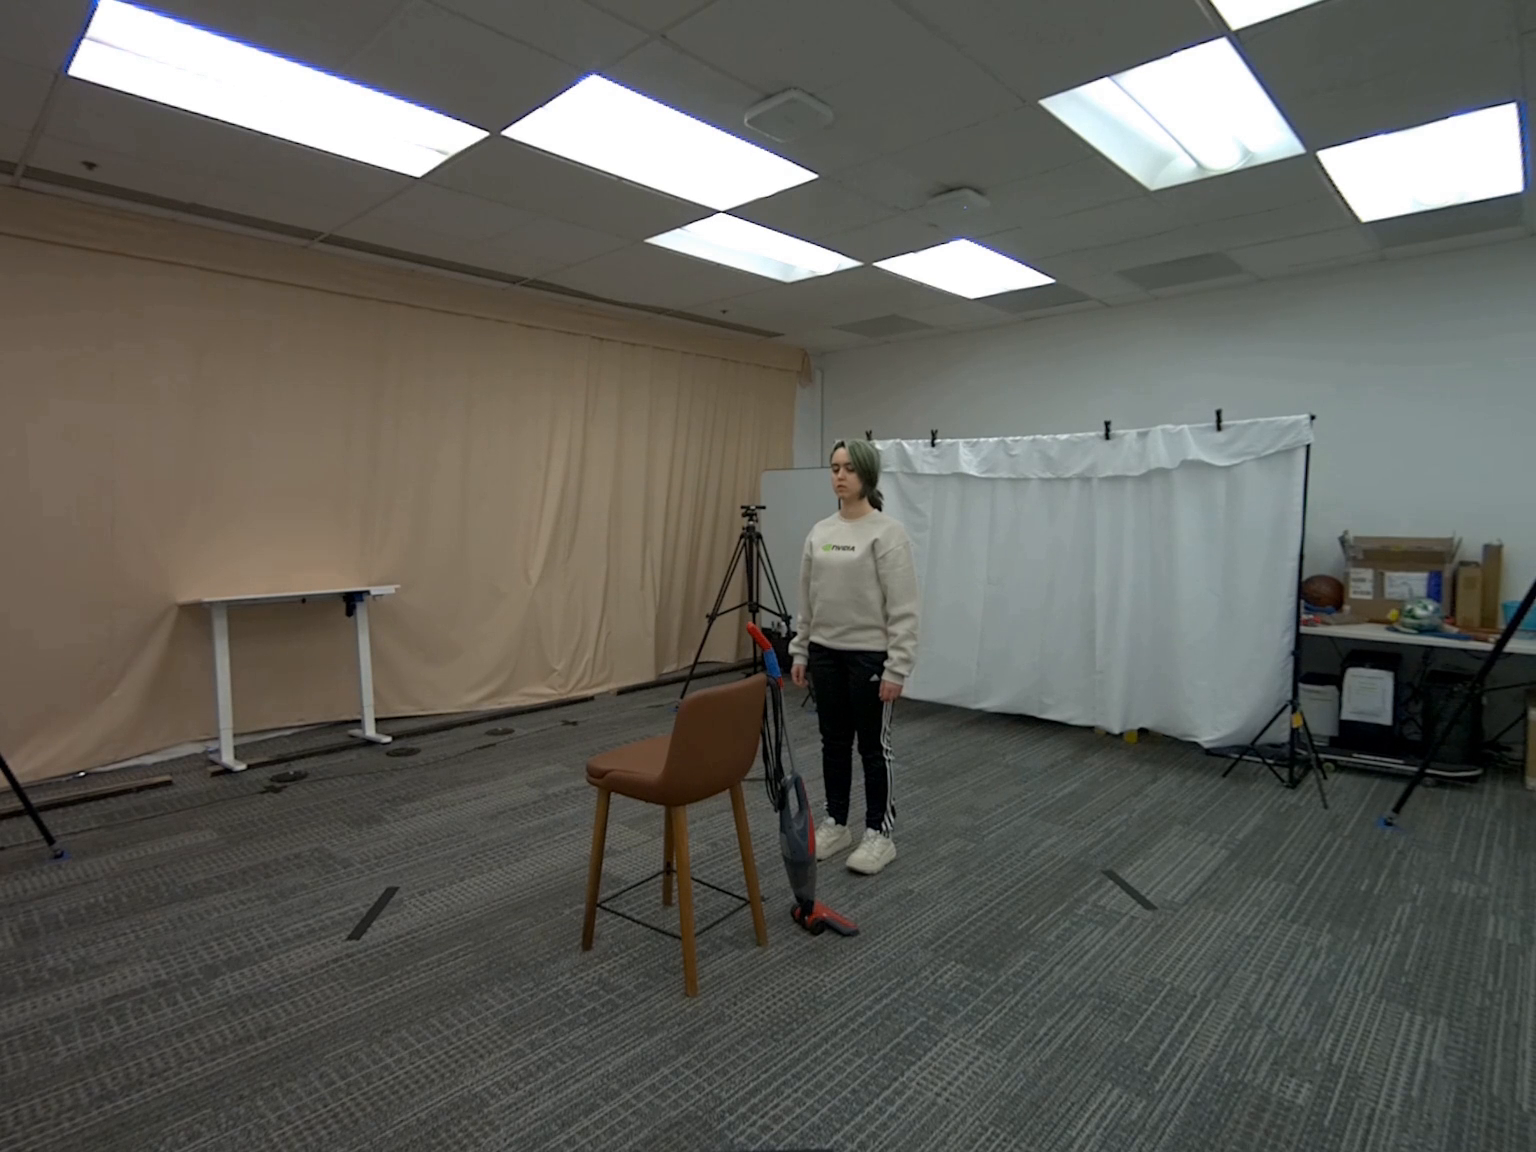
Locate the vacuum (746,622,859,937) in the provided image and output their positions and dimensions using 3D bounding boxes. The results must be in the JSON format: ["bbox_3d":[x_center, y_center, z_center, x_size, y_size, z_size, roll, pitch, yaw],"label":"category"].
[{"bbox_3d":[0.069,0.660,2.719,0.141,1.040,0.260,-18,12,-31],"label":"vacuum"}]
